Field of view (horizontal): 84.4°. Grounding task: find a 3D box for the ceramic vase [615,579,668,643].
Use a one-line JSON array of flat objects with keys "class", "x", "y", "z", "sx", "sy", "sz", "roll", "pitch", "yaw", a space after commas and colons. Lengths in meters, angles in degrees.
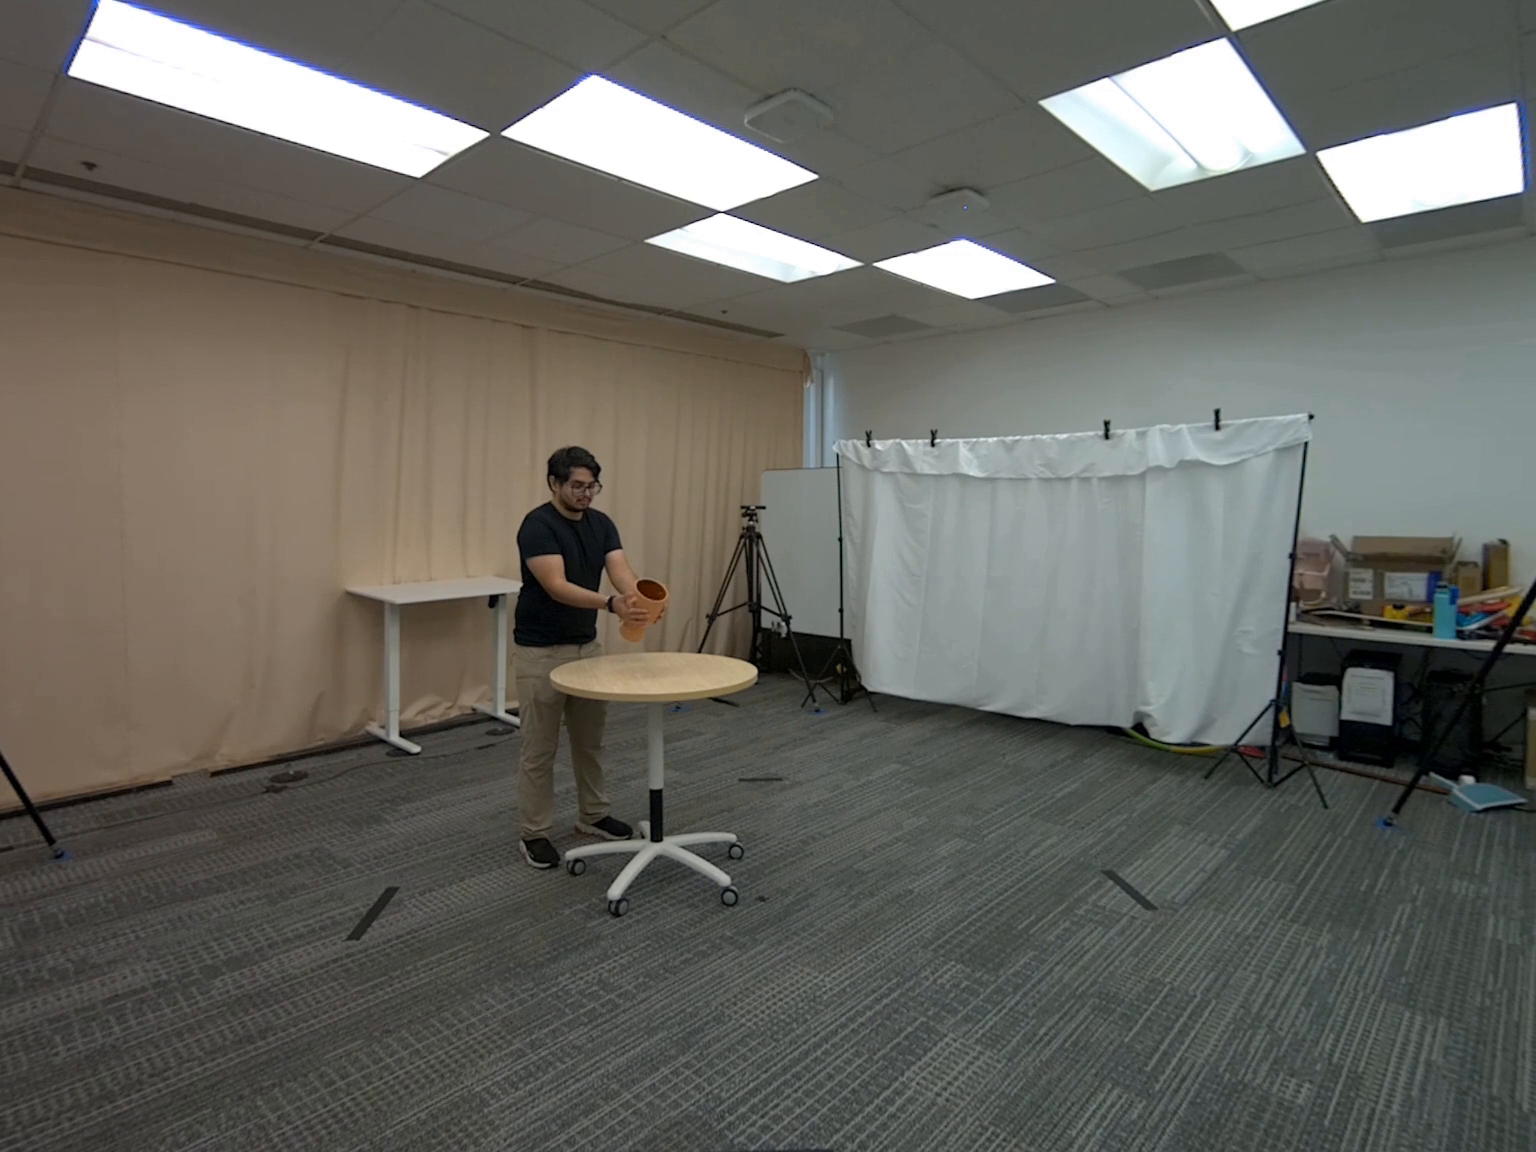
[{"class": "ceramic vase", "x": -0.466, "y": 0.134, "z": 3.119, "sx": 0.155, "sy": 0.219, "sz": 0.138, "roll": 13, "pitch": 33, "yaw": -21}]
